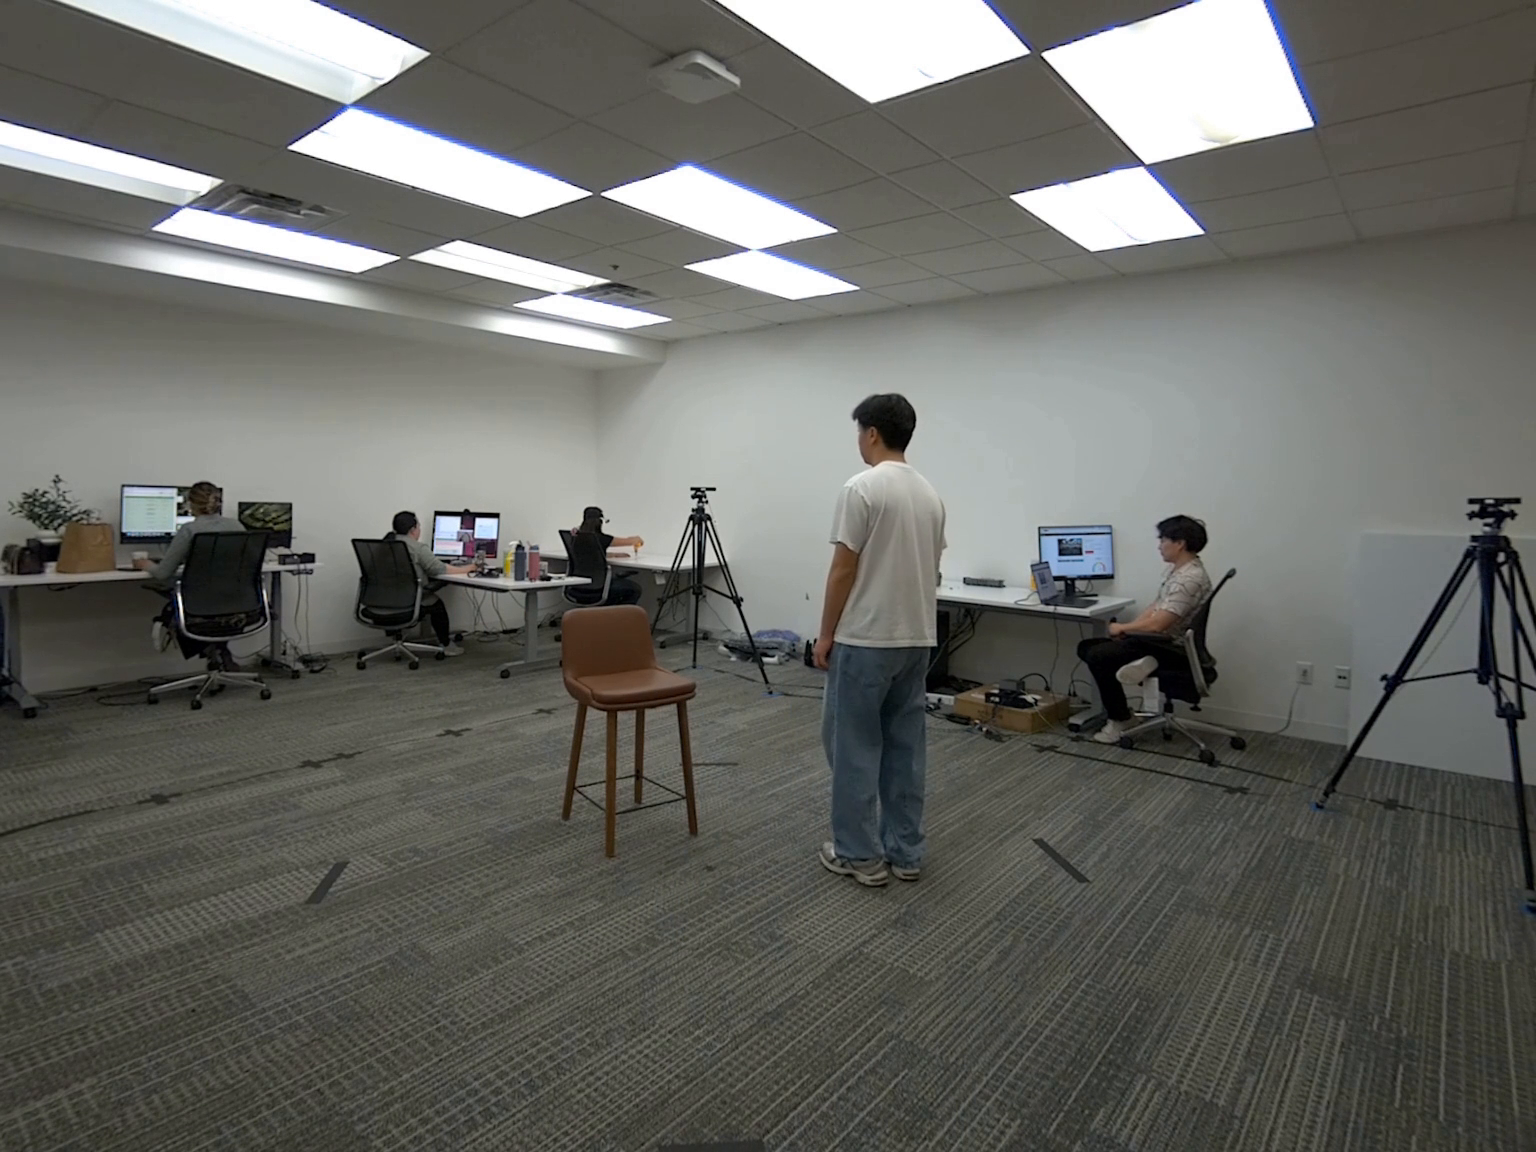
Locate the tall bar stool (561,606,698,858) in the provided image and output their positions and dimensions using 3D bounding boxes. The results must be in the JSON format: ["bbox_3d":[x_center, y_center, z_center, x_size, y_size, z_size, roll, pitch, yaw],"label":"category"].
[{"bbox_3d":[-0.587,0.587,3.465,0.443,0.889,0.482,-1,2,-38],"label":"tall bar stool"}]
